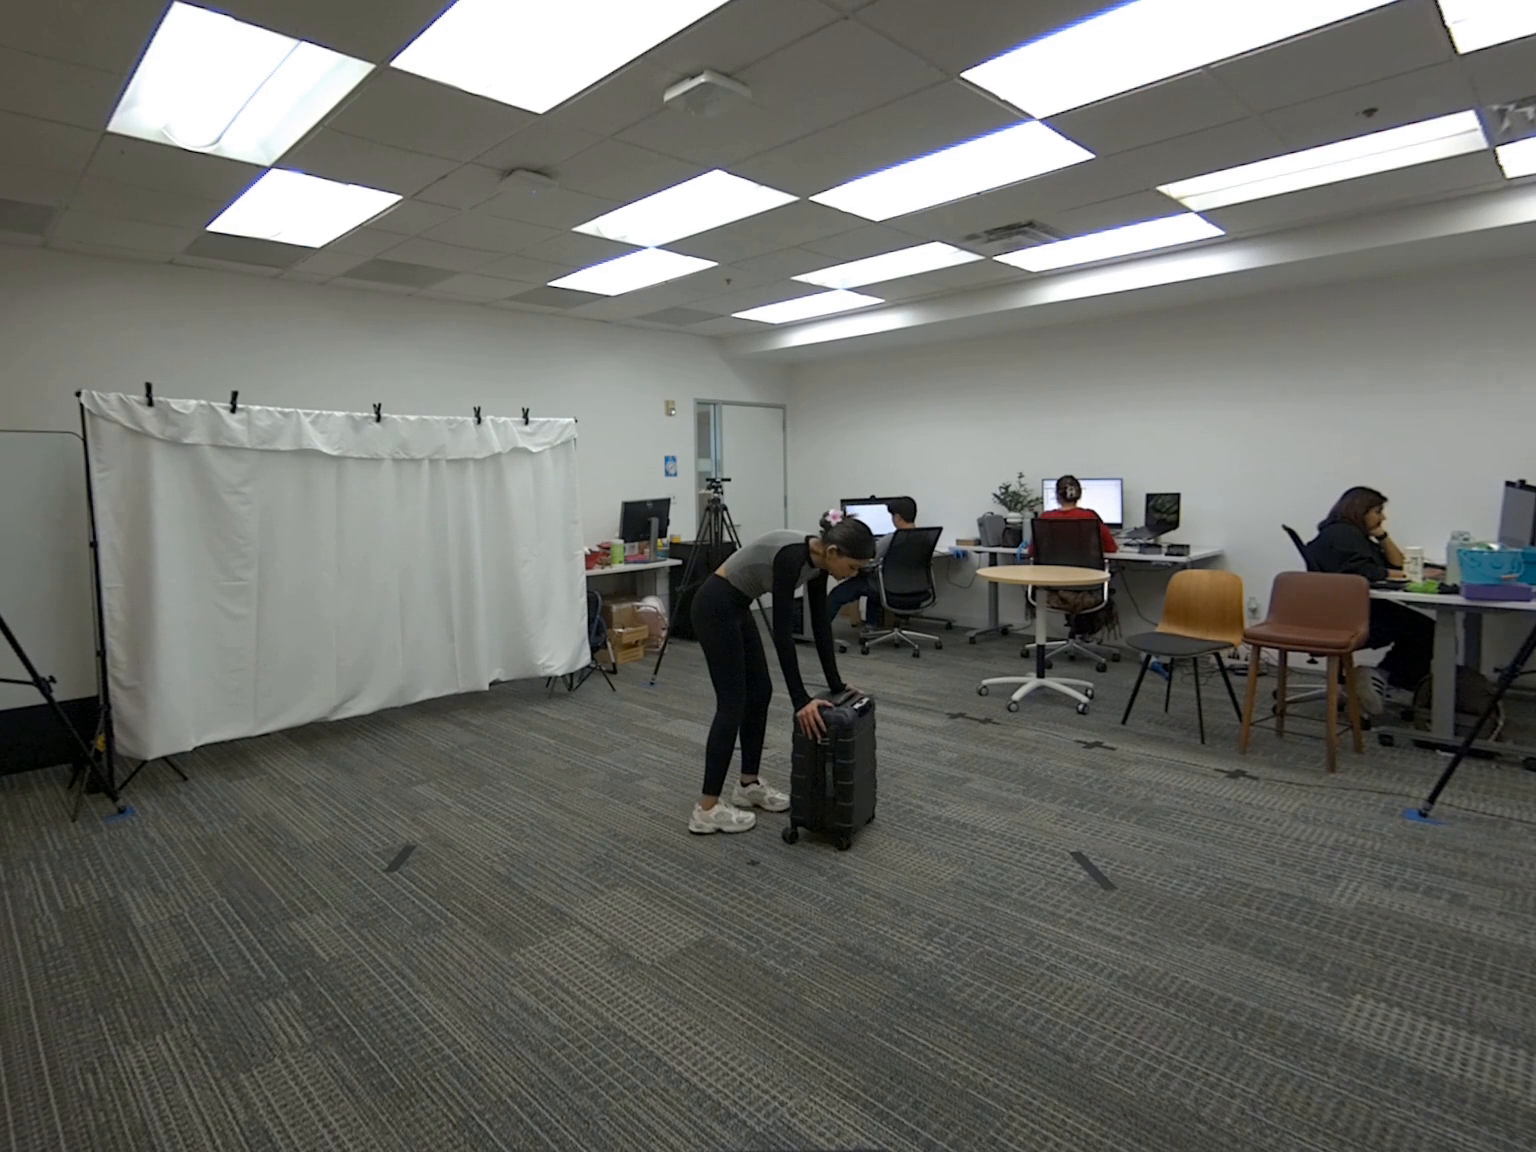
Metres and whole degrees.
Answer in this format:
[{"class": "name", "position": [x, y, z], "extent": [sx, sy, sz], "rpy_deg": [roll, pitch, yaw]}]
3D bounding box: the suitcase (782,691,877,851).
[{"class": "suitcase", "position": [0.261, 0.739, 3.343], "extent": [0.254, 0.547, 0.368], "rpy_deg": [3, 6, 24]}]
